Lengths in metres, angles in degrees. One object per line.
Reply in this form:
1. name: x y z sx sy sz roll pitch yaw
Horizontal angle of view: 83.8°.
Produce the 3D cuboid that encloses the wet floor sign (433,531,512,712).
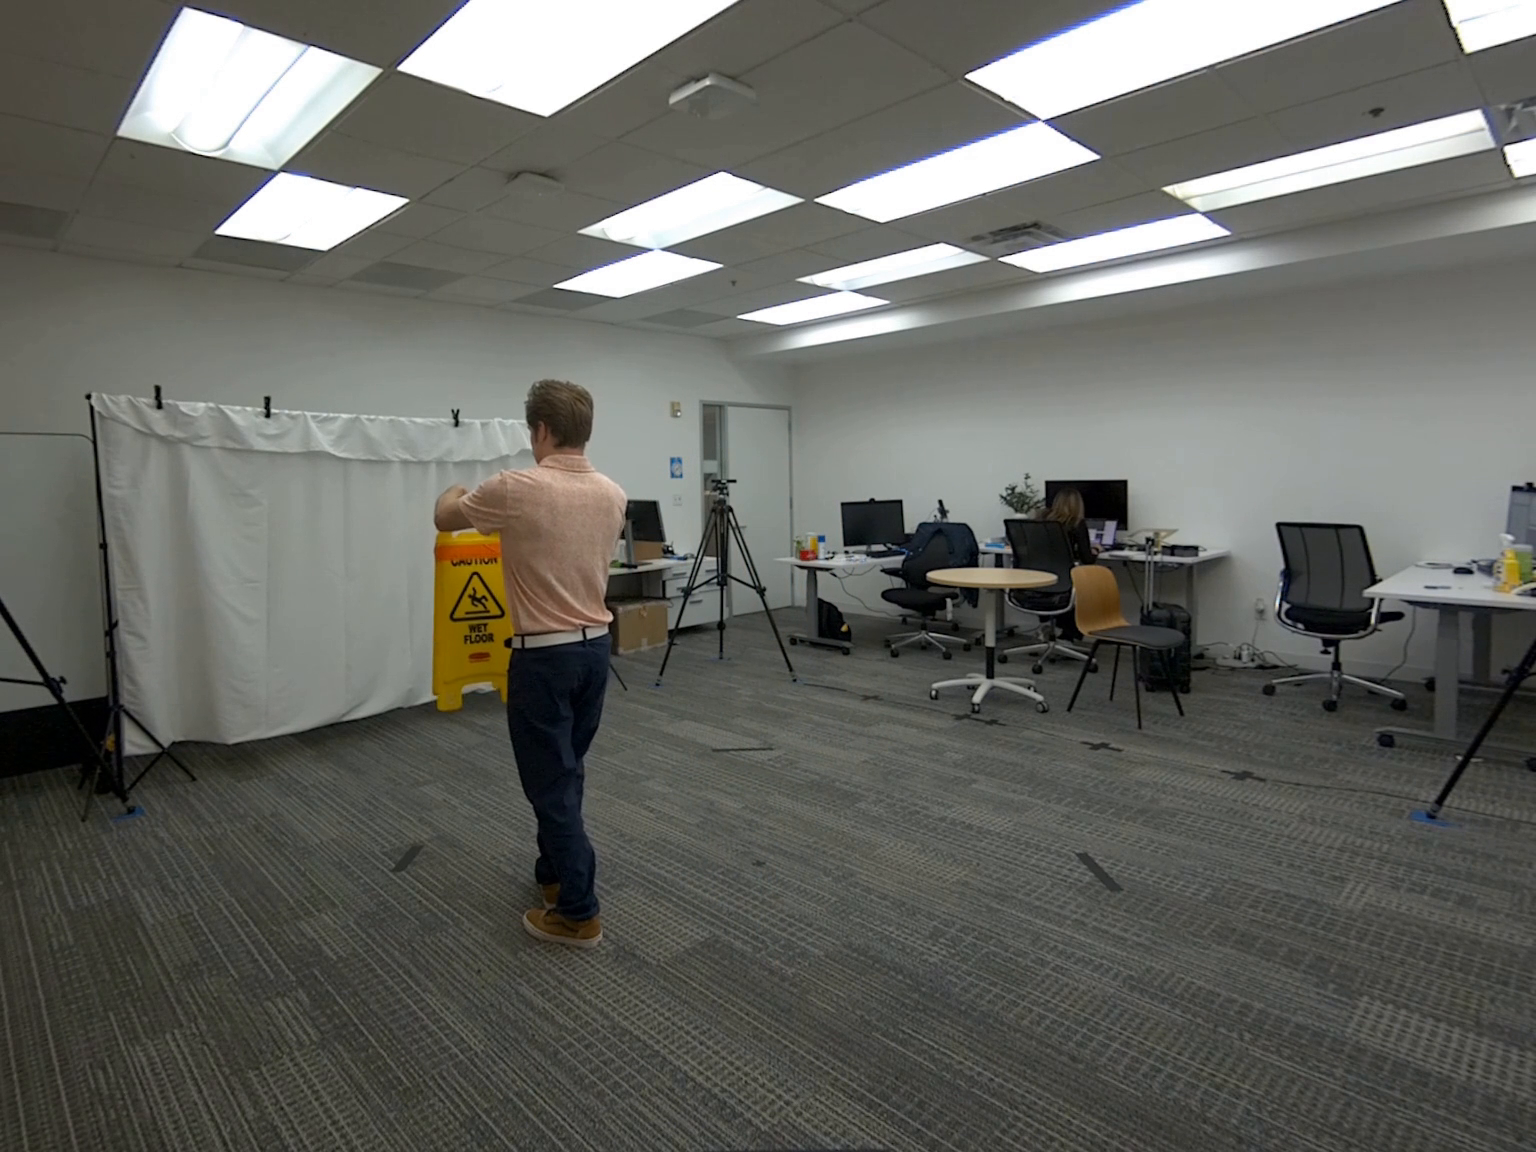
1. wet floor sign: -0.990 0.096 2.897 0.276 0.644 0.296 -1 3 -23
